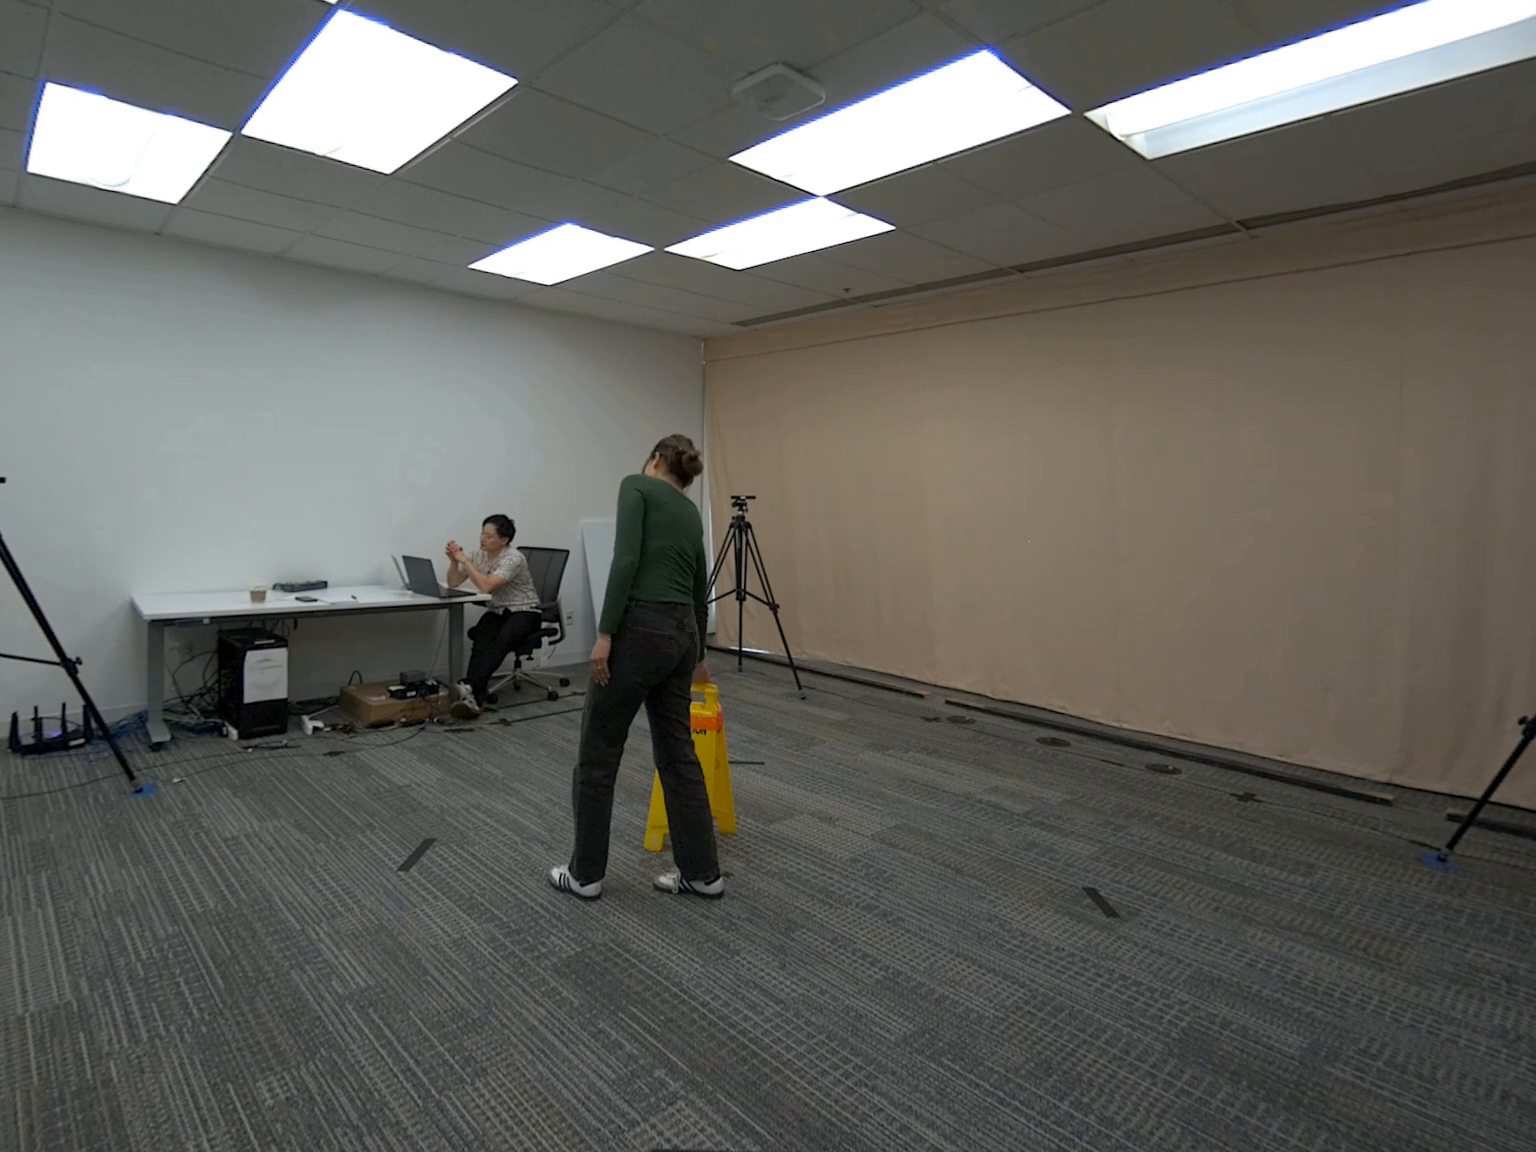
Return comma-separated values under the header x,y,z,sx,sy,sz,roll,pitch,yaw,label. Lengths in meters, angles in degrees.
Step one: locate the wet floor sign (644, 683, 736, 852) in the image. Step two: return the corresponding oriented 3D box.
x,y,z,sx,sy,sz,roll,pitch,yaw,label
-0.313,0.752,3.386,0.287,0.645,0.286,1,3,20,wet floor sign
